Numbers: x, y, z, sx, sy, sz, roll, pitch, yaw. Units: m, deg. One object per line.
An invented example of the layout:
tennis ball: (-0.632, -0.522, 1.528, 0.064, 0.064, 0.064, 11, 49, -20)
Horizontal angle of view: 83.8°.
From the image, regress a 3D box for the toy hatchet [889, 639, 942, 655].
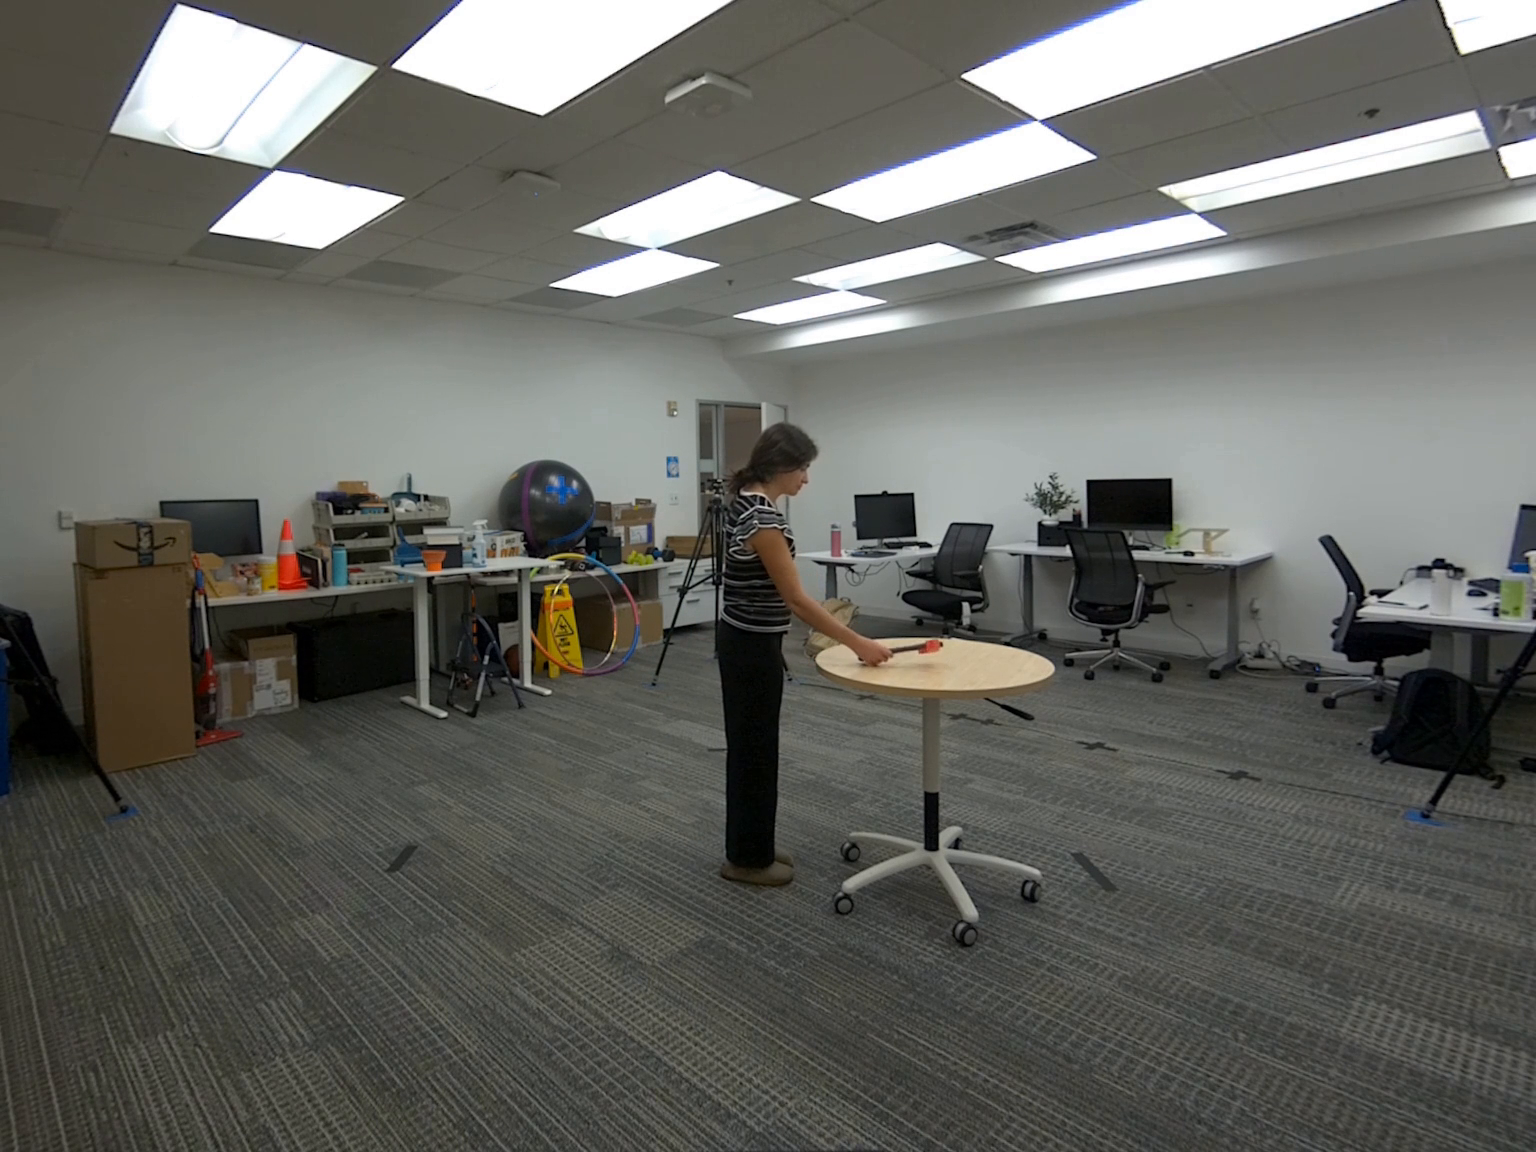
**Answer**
toy hatchet: (0.428, 0.250, 2.778, 0.274, 0.030, 0.126, -16, -25, 29)
